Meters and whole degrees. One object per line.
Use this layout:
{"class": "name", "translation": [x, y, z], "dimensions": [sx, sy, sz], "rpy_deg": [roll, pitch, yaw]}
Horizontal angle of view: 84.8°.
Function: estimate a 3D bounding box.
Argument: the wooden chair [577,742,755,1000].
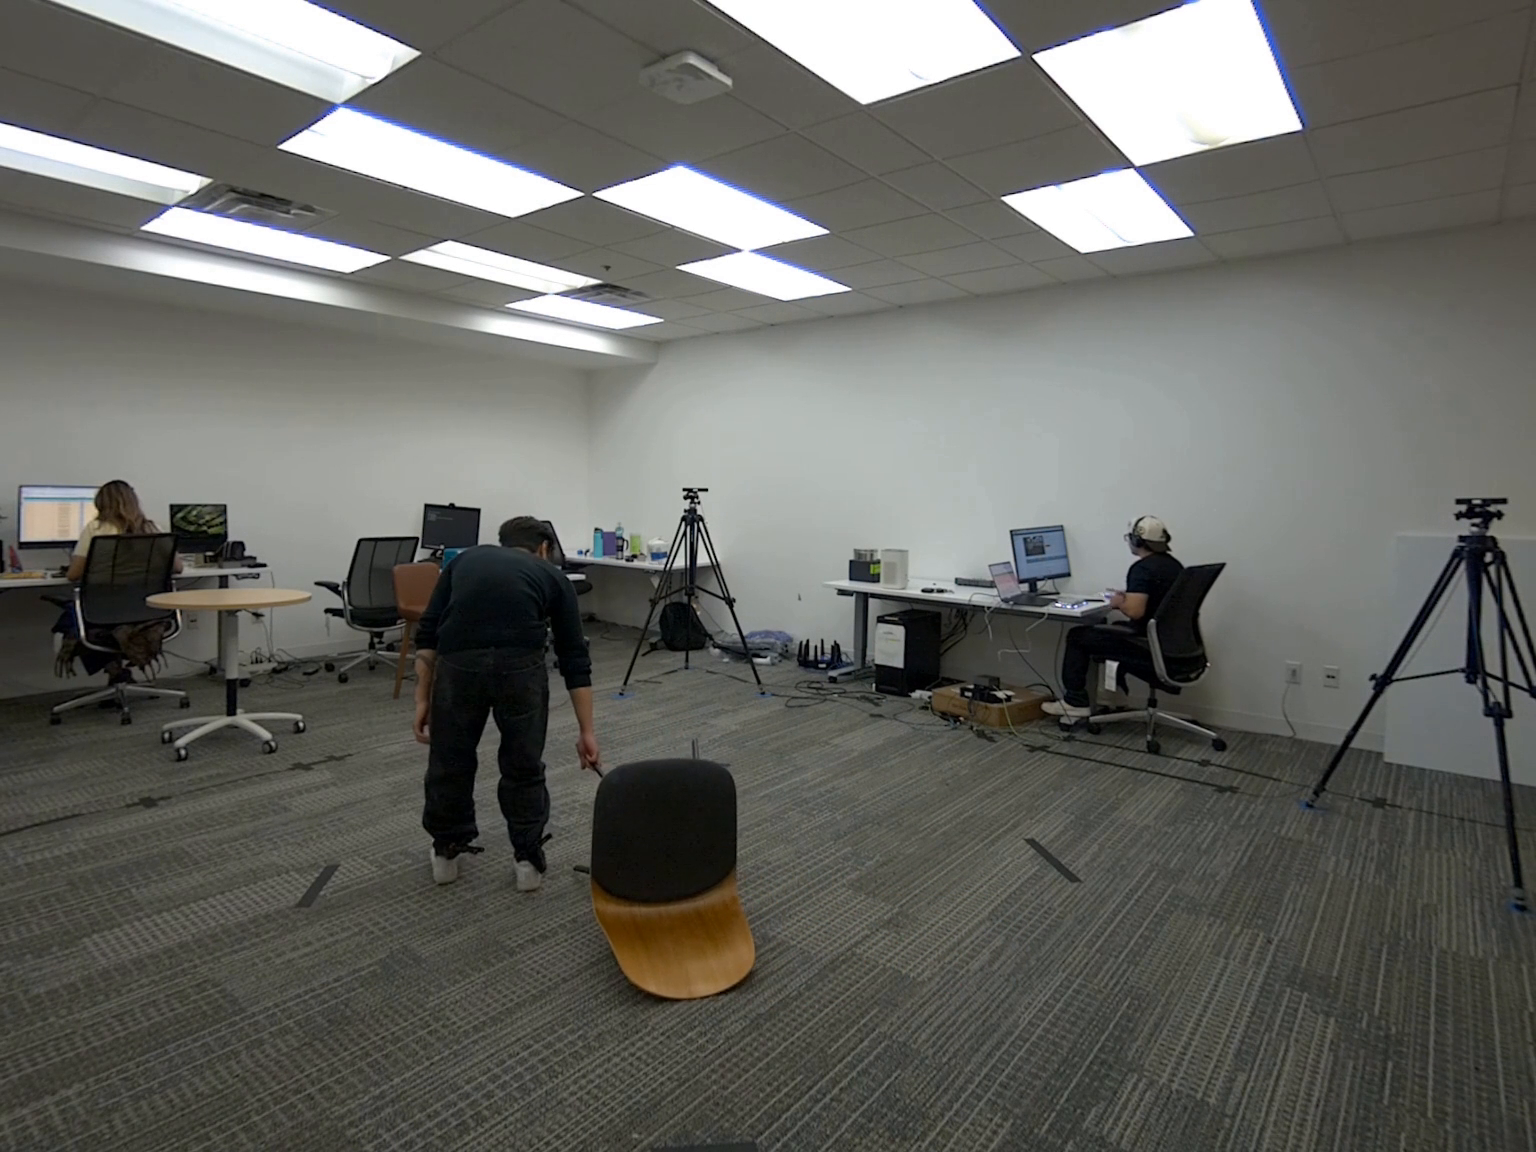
{"class": "wooden chair", "translation": [-0.352, 0.845, 2.713], "dimensions": [0.469, 0.521, 0.898], "rpy_deg": [1, 6, -19]}
